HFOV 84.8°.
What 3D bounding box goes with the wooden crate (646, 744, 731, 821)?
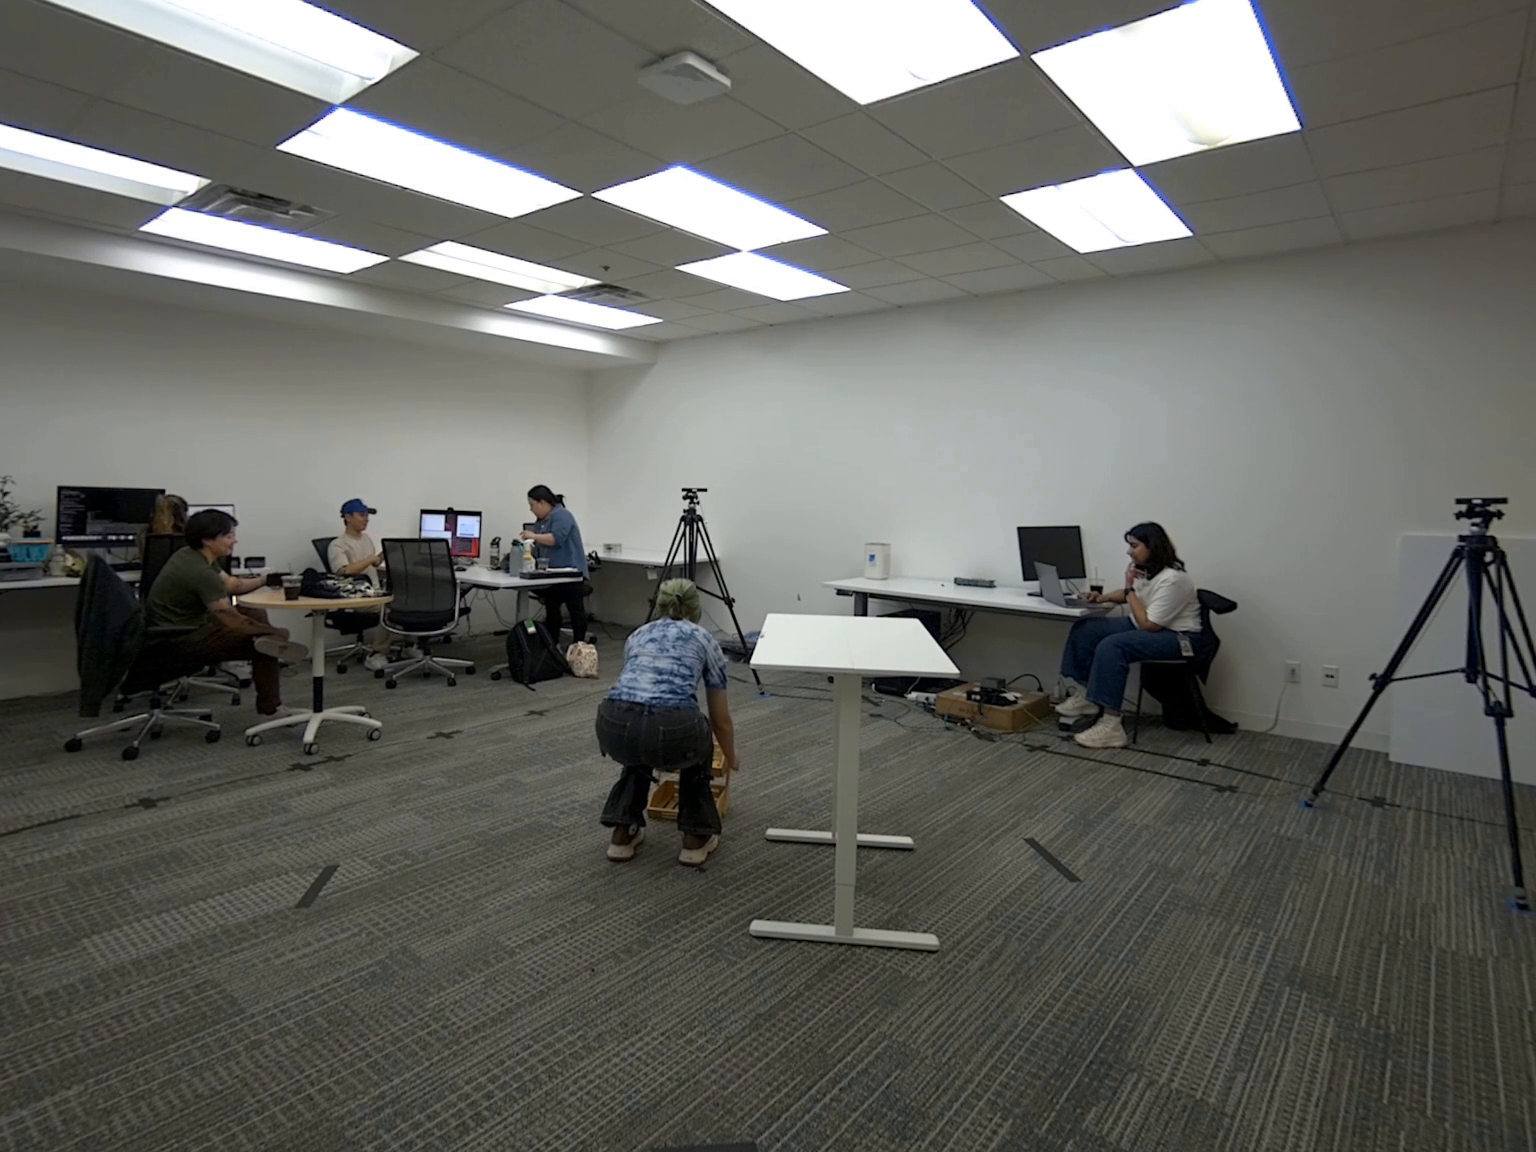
[{"bbox_3d":[-0.340,0.879,3.670,0.329,0.272,0.298,1,4,13],"label":"wooden crate"}]
